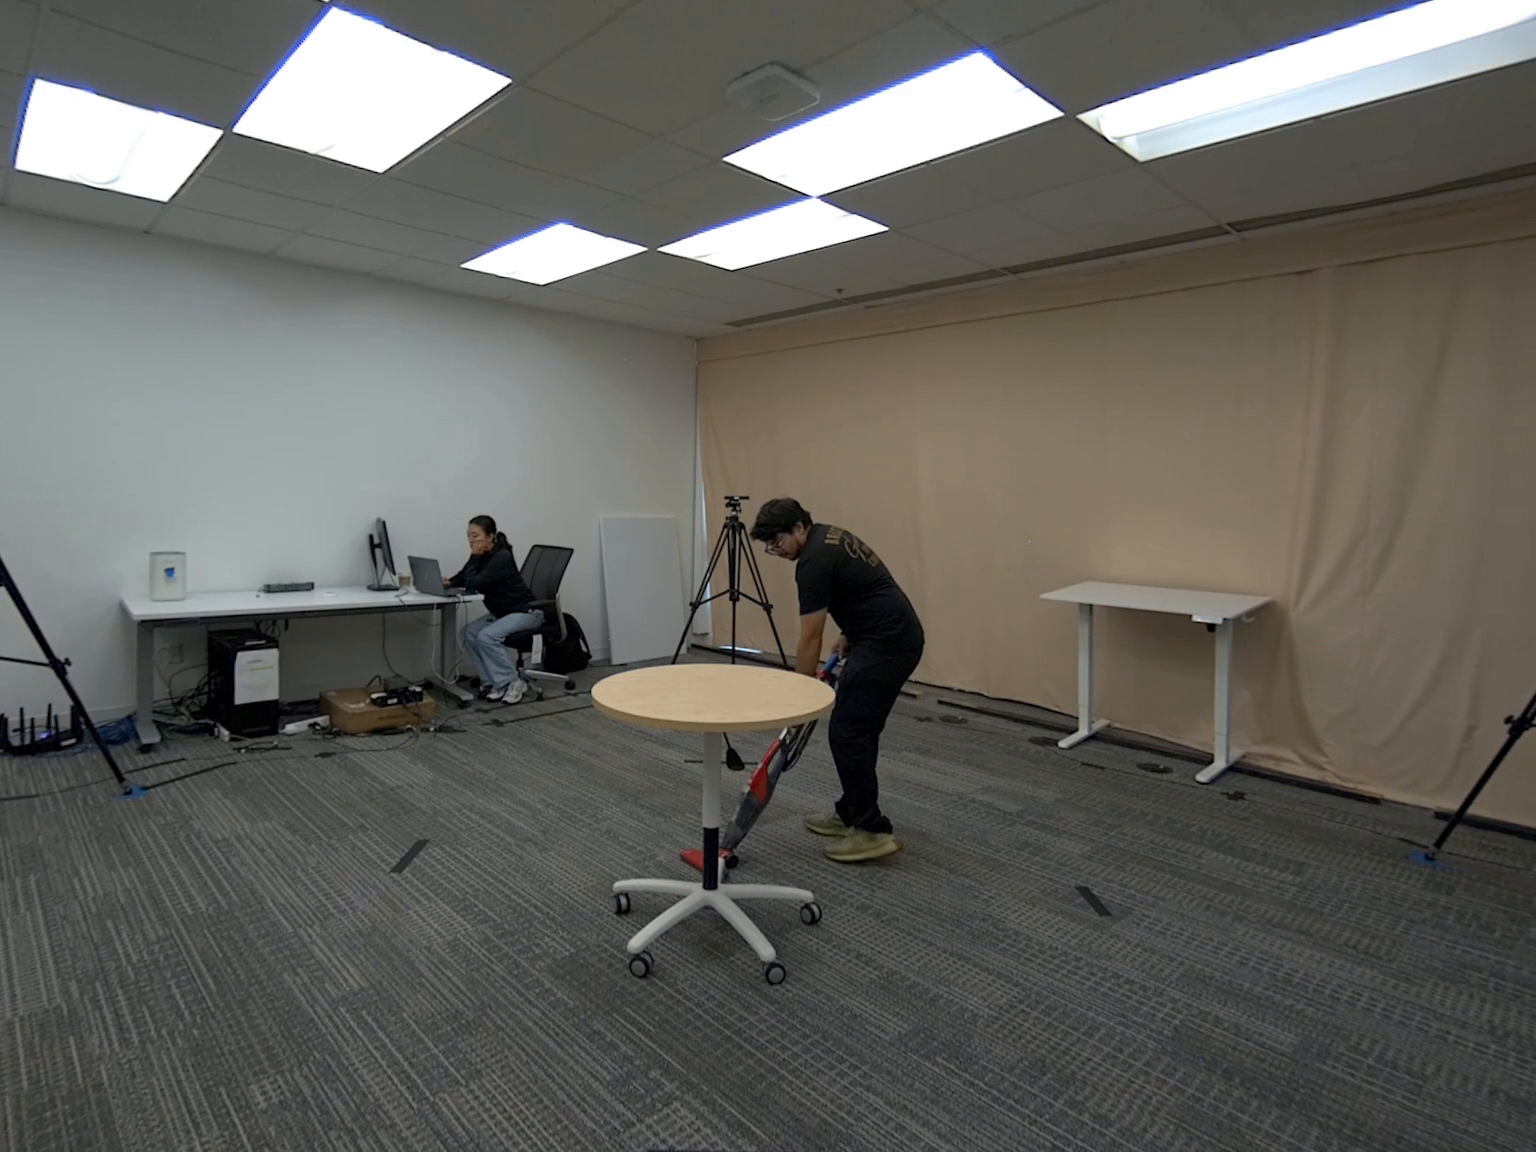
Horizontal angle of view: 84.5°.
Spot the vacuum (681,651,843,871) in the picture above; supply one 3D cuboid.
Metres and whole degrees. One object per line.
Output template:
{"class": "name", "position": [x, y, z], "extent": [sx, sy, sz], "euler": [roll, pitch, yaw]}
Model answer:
{"class": "vacuum", "position": [0.057, 0.684, 3.361], "extent": [0.141, 1.052, 0.258], "euler": [44, -24, -24]}
